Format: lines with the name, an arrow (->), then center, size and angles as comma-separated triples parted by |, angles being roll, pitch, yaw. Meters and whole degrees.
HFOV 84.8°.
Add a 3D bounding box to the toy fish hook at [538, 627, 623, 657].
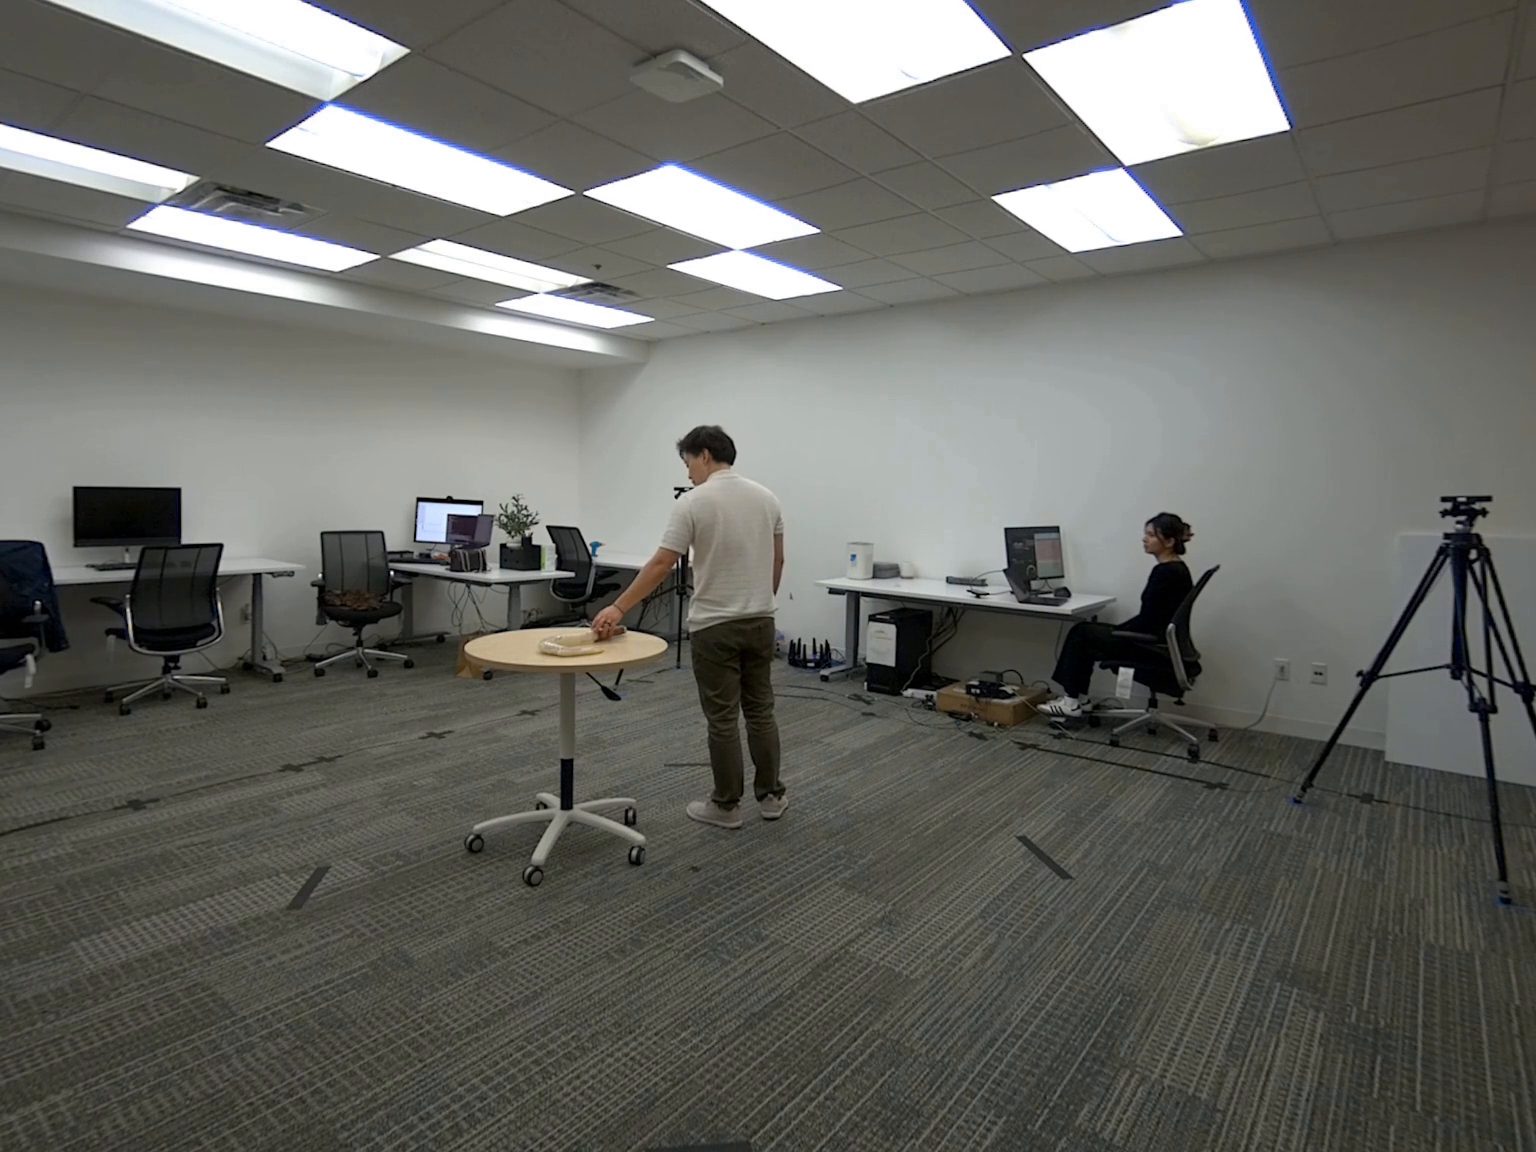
toy fish hook -> -0.675, 0.251, 3.263 | 0.231, 0.048, 0.495 | 11, 11, 27
